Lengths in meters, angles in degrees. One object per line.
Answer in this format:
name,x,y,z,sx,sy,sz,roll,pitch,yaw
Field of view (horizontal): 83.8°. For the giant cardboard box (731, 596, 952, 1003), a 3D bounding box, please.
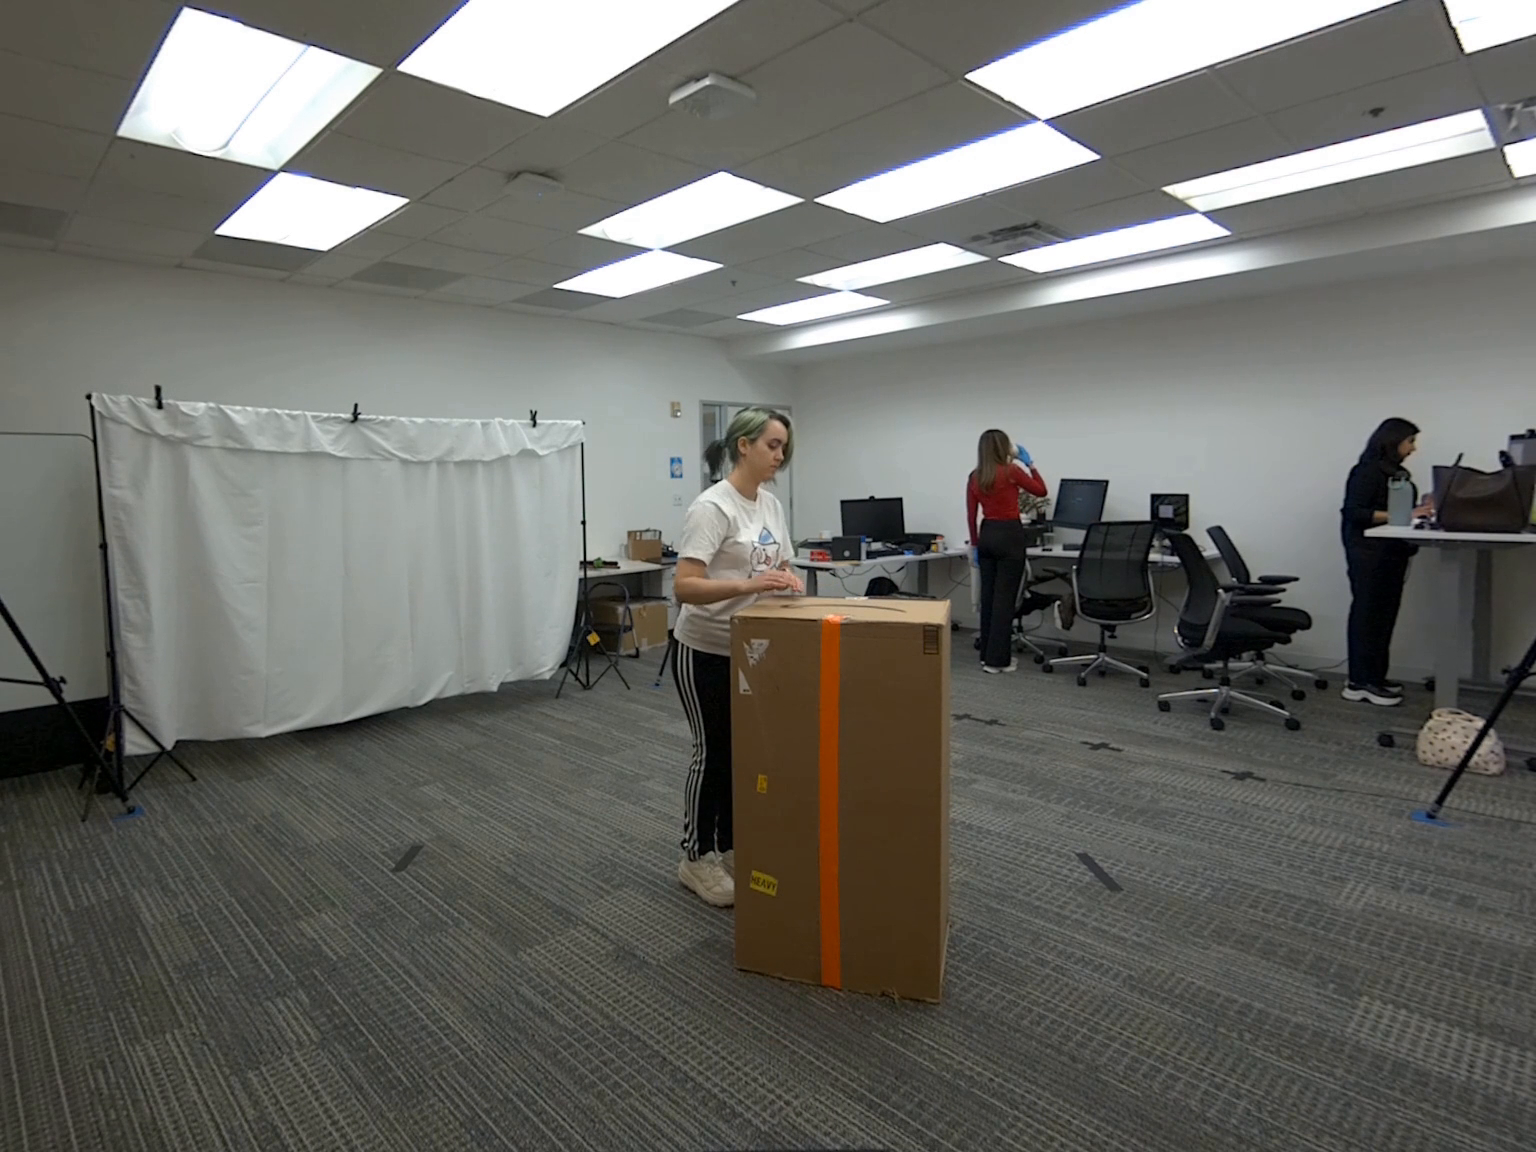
giant cardboard box,0.232,0.601,2.510,0.594,1.024,0.441,0,3,17
